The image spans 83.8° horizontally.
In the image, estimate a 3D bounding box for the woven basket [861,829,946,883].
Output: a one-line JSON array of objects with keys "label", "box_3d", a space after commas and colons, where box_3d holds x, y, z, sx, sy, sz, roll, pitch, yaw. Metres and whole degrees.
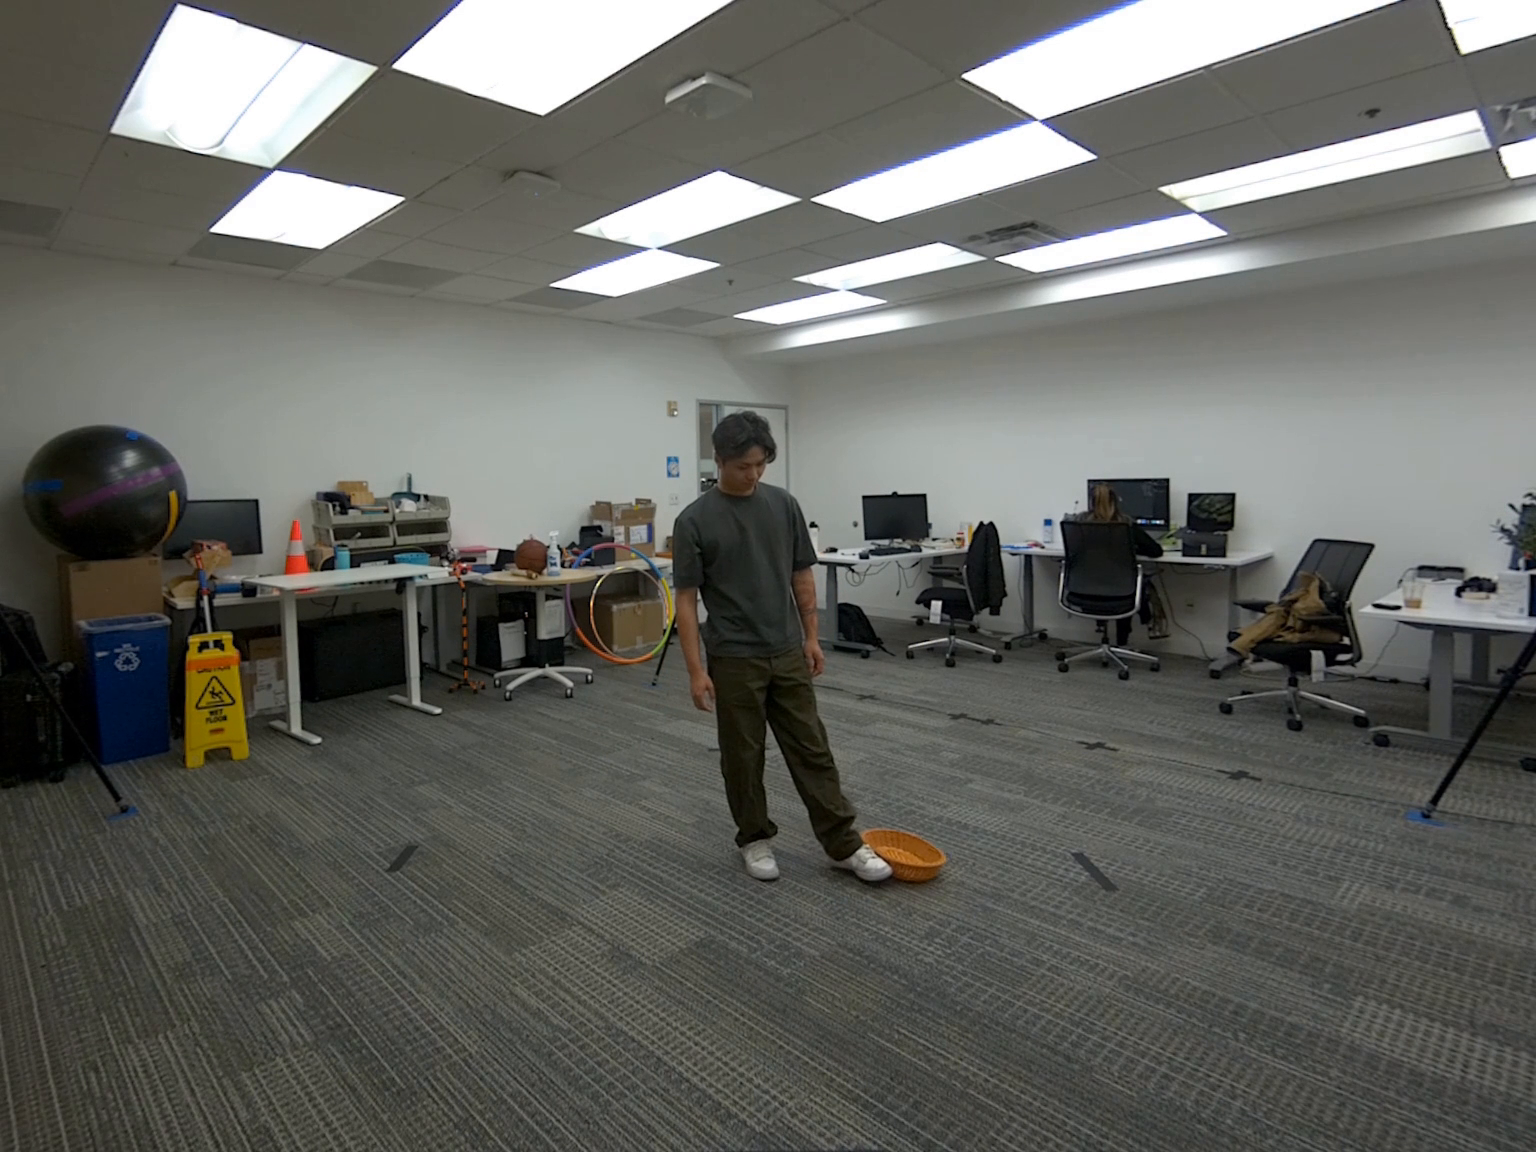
[{"label": "woven basket", "box_3d": [0.475, 0.990, 3.049, 0.246, 0.073, 0.359, 3, 3, -27]}]
